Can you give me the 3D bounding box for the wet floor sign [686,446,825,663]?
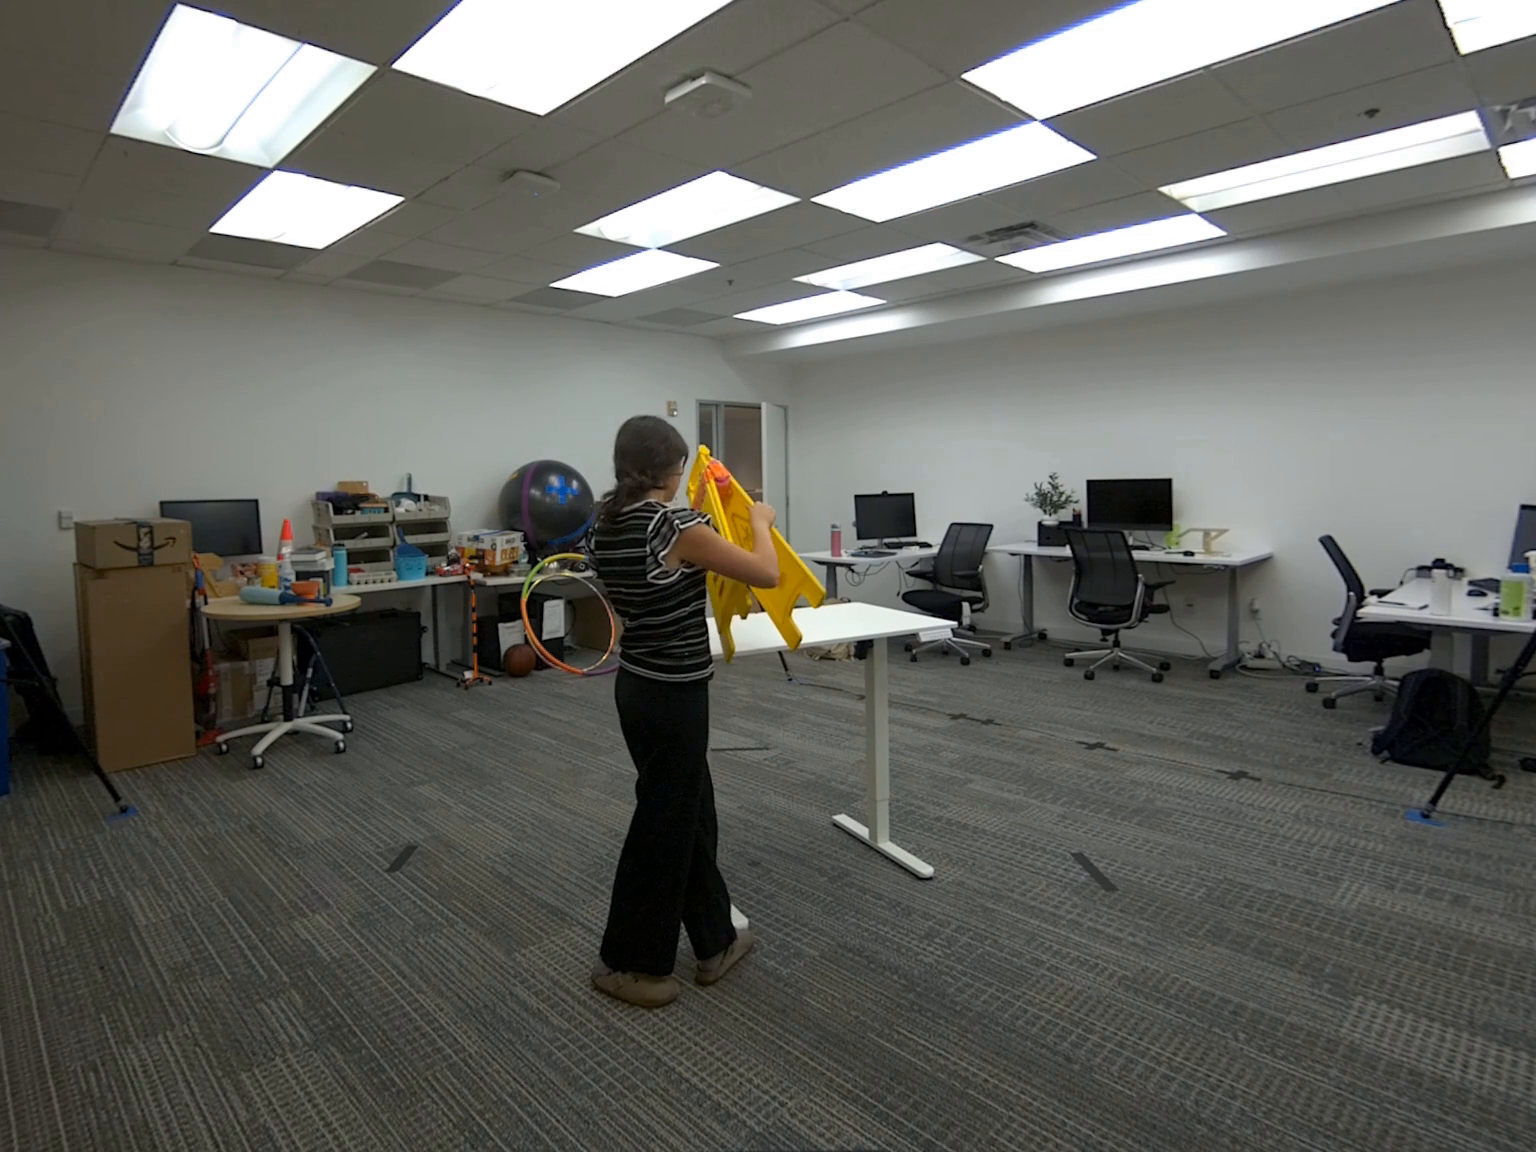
[{"bbox_3d":[-0.114,-0.099,2.534,0.284,0.669,0.278,-8,-37,-26],"label":"wet floor sign"}]
